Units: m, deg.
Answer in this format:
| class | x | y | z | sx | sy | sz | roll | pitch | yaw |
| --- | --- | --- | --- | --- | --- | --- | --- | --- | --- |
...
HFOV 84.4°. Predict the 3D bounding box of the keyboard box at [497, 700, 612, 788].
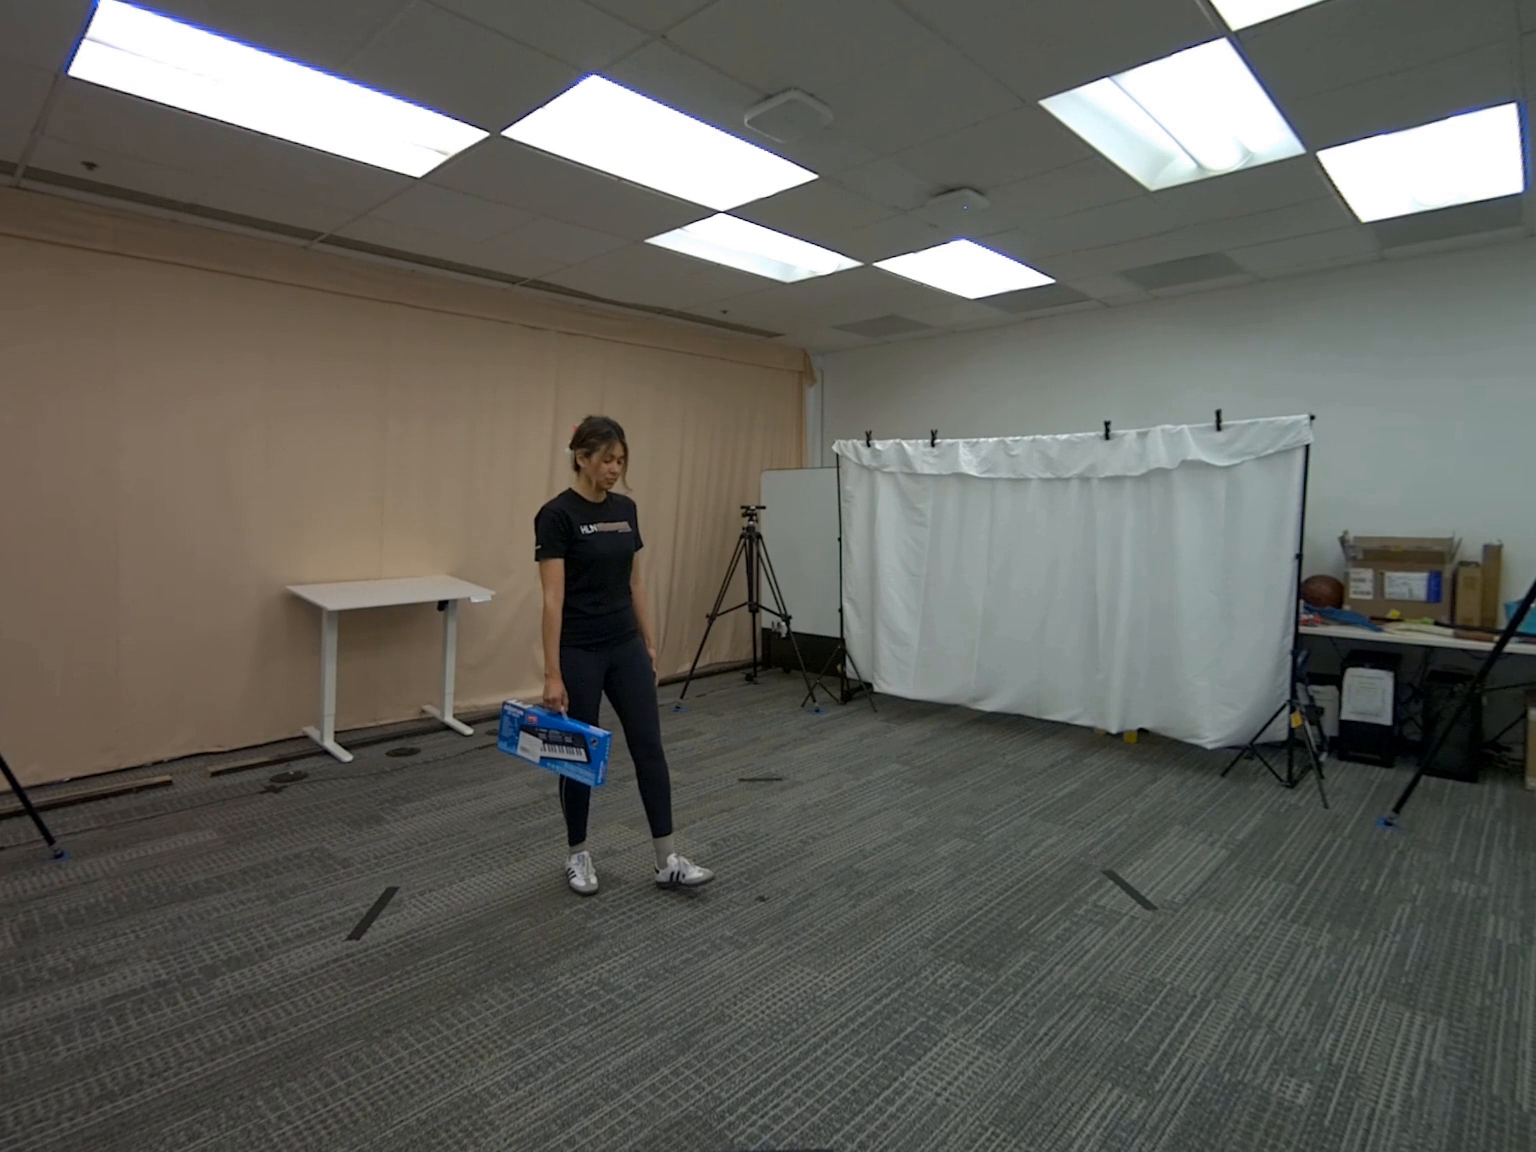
| class | x | y | z | sx | sy | sz | roll | pitch | yaw |
| --- | --- | --- | --- | --- | --- | --- | --- | --- | --- |
| keyboard box | -0.718 | 0.555 | 2.831 | 0.450 | 0.175 | 0.057 | 11 | 6 | 28 |
